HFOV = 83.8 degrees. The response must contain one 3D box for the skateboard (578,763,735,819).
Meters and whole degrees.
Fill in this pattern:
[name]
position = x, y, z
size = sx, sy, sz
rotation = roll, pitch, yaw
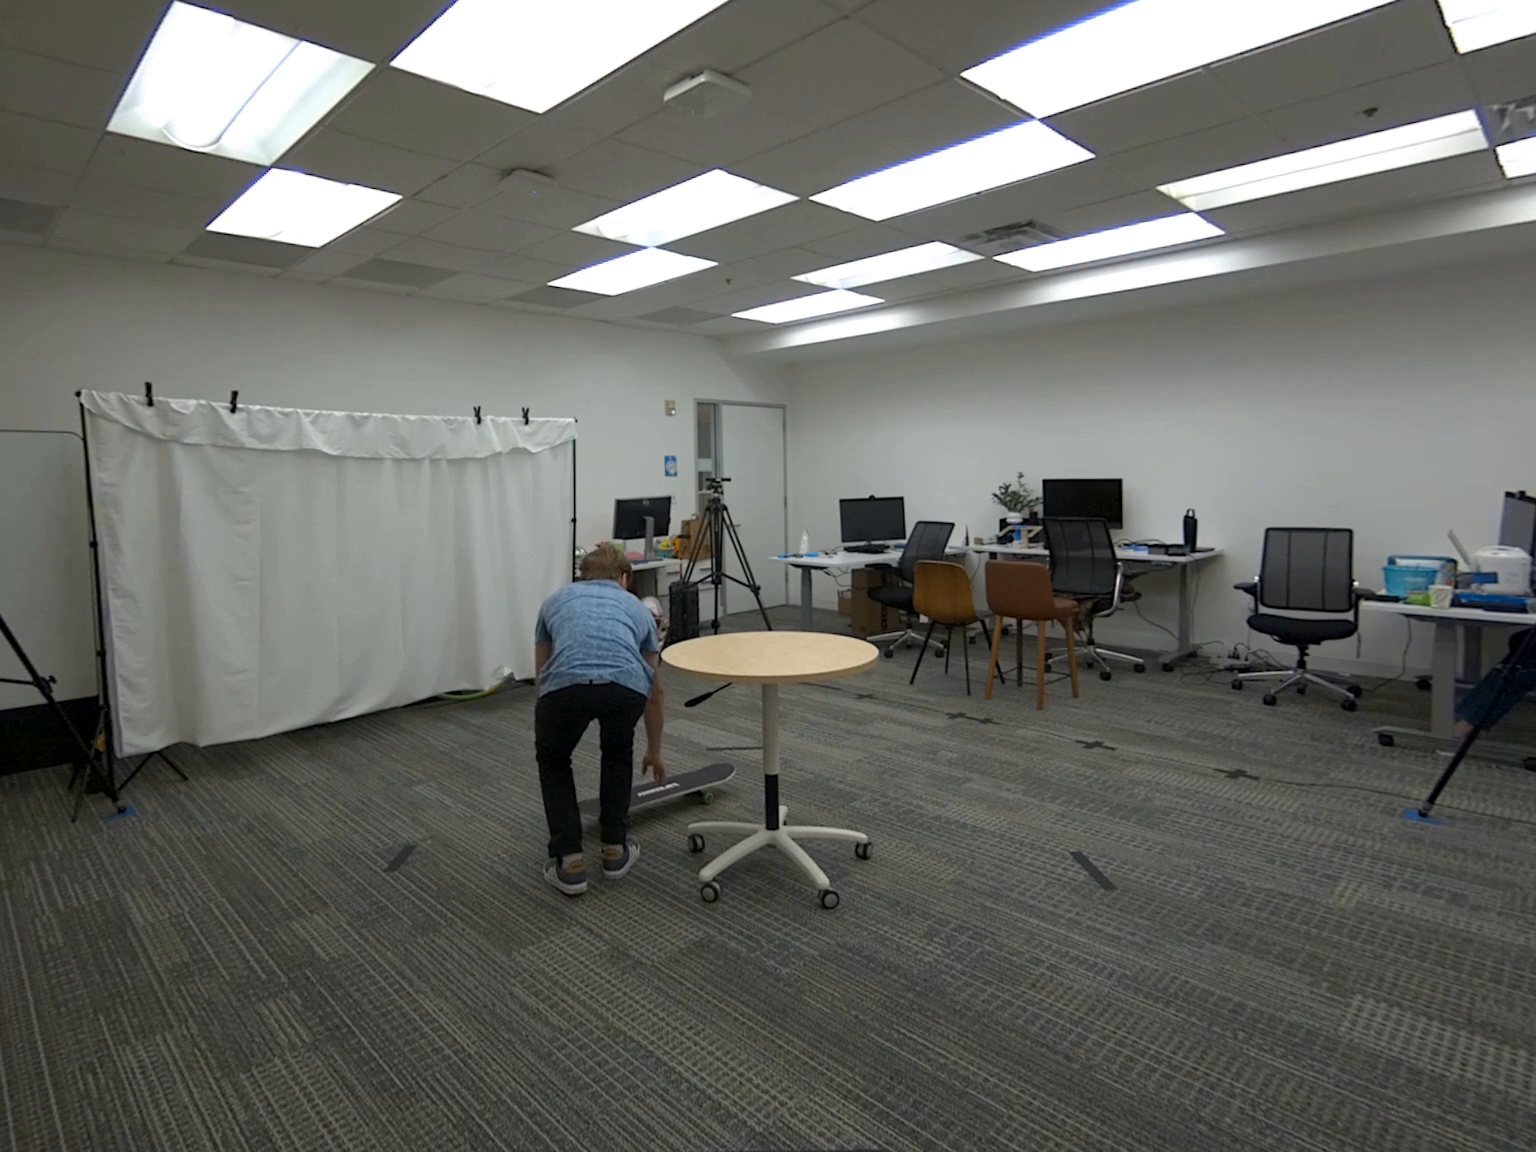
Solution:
[skateboard]
position = -0.465, 0.935, 3.623
size = 0.765, 0.110, 0.199
rotation = -7, 8, -38
